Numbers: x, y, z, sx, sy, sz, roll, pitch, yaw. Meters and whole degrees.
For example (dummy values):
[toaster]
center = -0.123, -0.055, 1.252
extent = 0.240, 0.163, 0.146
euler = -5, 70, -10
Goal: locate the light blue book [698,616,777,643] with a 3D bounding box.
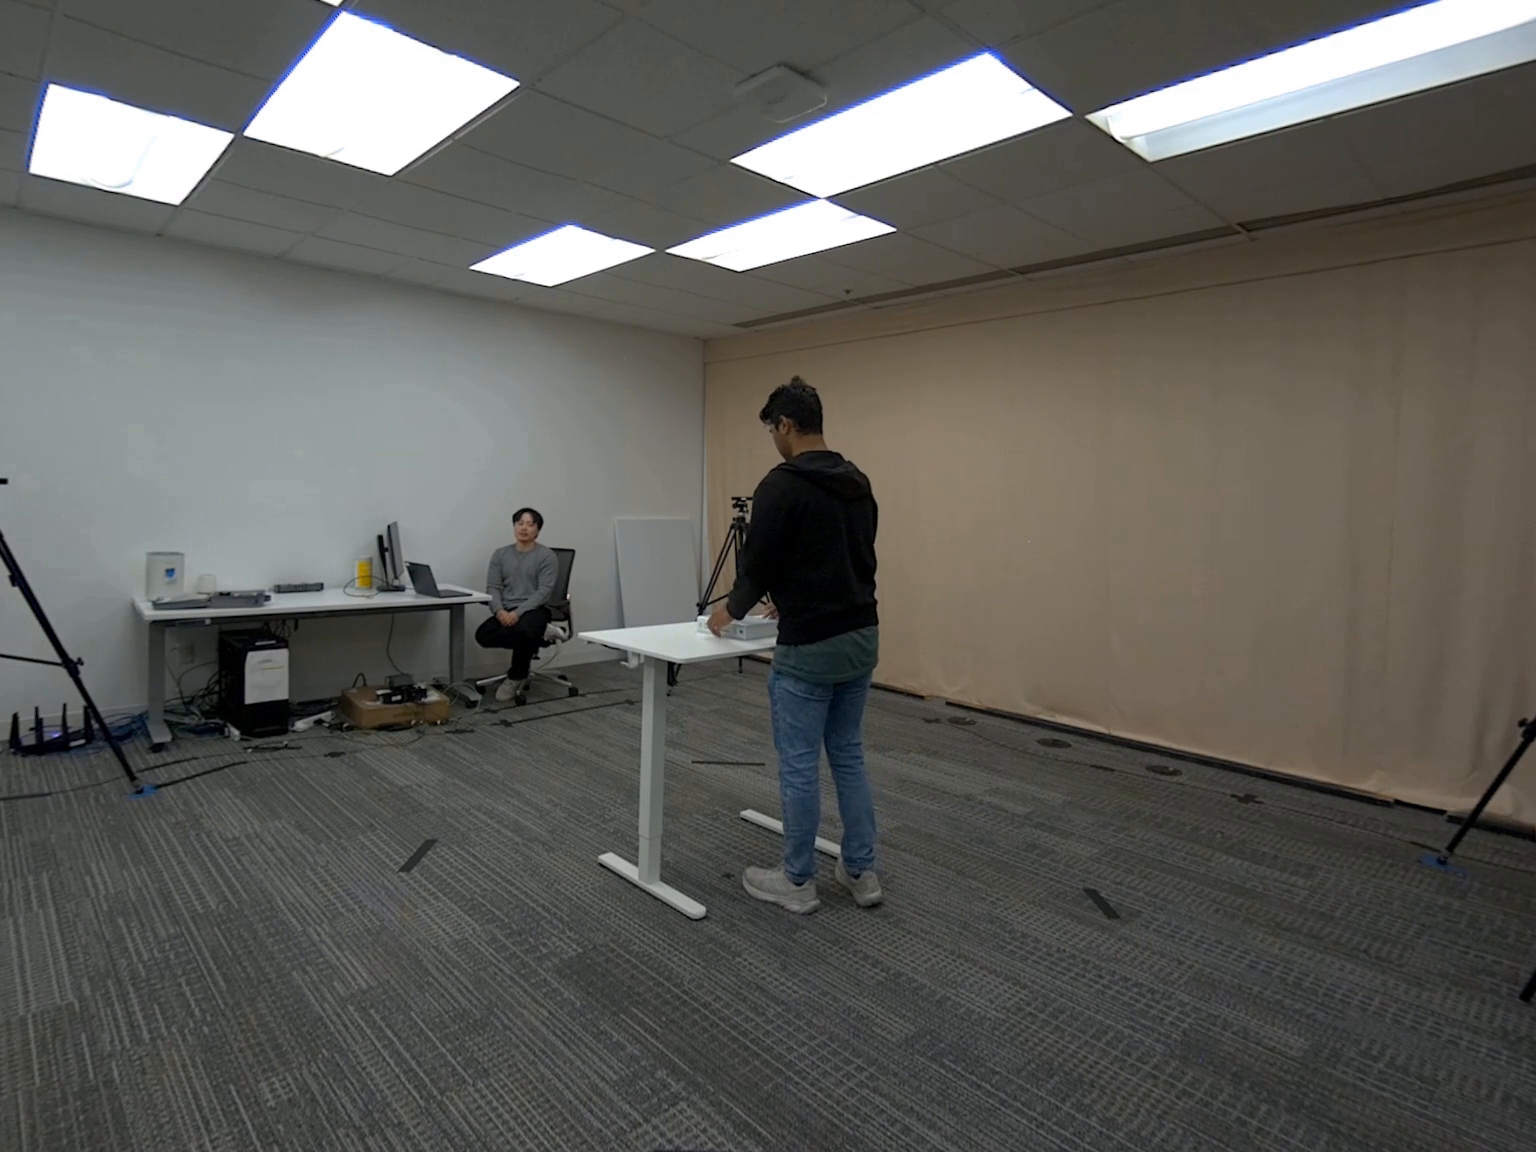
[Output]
[light blue book]
center = -0.116, 0.191, 3.178
extent = 0.268, 0.059, 0.187
euler = 7, 7, 44
